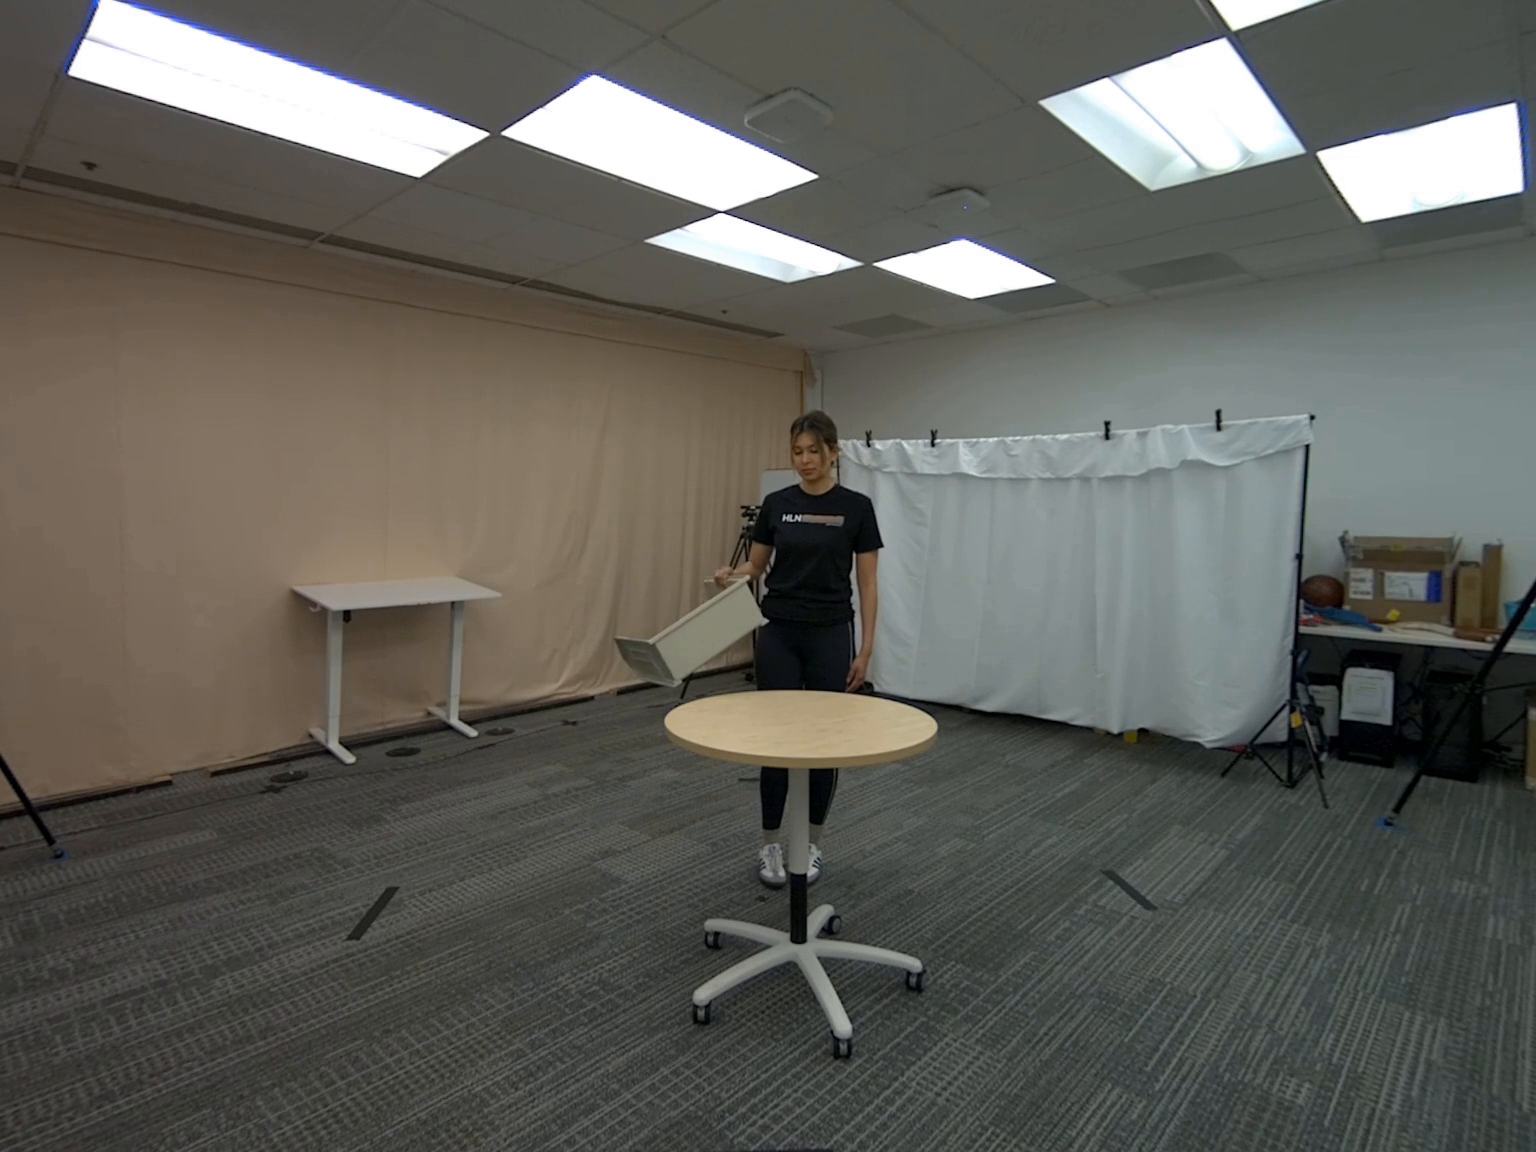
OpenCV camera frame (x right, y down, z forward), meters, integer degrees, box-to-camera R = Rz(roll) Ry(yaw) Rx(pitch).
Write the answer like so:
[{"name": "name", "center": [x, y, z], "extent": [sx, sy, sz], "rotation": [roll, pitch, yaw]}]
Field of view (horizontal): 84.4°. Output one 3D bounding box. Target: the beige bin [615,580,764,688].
[{"name": "beige bin", "center": [-0.275, 0.184, 2.937], "extent": [0.417, 0.186, 0.387], "rotation": [-33, 15, -24]}]
